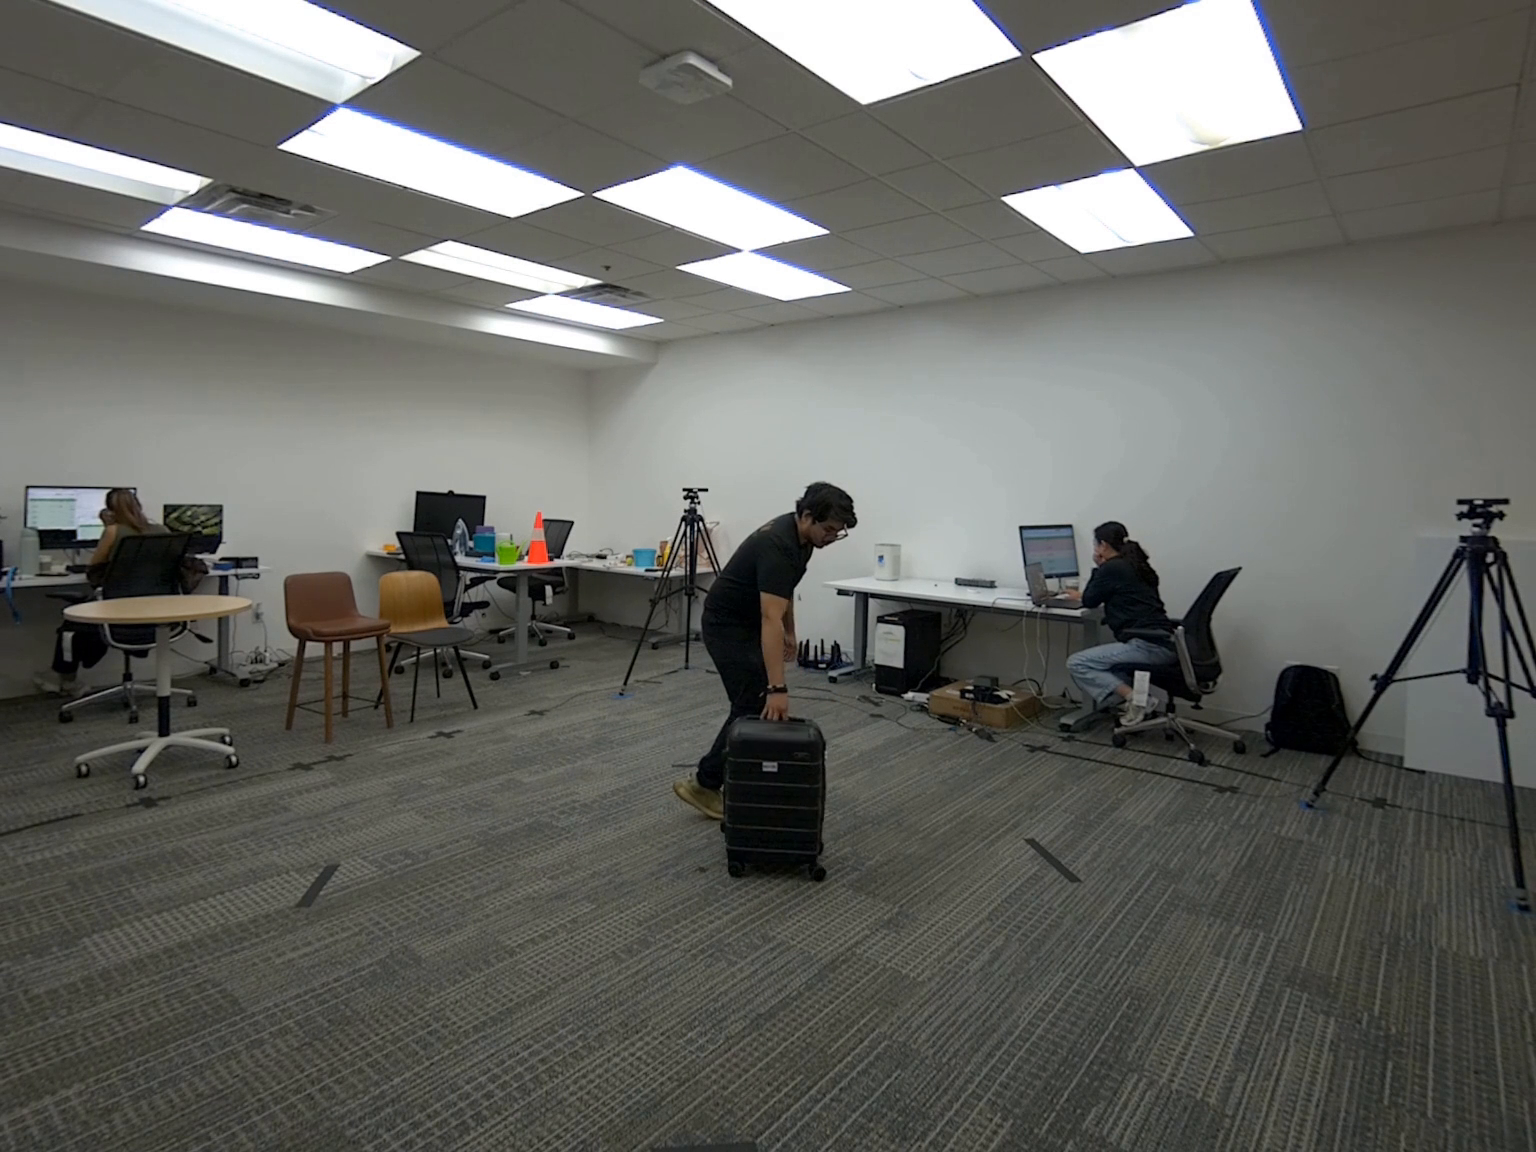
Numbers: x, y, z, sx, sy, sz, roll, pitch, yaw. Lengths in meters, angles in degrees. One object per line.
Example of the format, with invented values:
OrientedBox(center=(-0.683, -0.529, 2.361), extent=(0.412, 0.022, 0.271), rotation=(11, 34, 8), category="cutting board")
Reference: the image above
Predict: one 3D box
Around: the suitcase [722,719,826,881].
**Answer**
OrientedBox(center=(0.012, 0.797, 3.154), extent=(0.377, 0.547, 0.248), rotation=(0, 5, 3), category="suitcase")
